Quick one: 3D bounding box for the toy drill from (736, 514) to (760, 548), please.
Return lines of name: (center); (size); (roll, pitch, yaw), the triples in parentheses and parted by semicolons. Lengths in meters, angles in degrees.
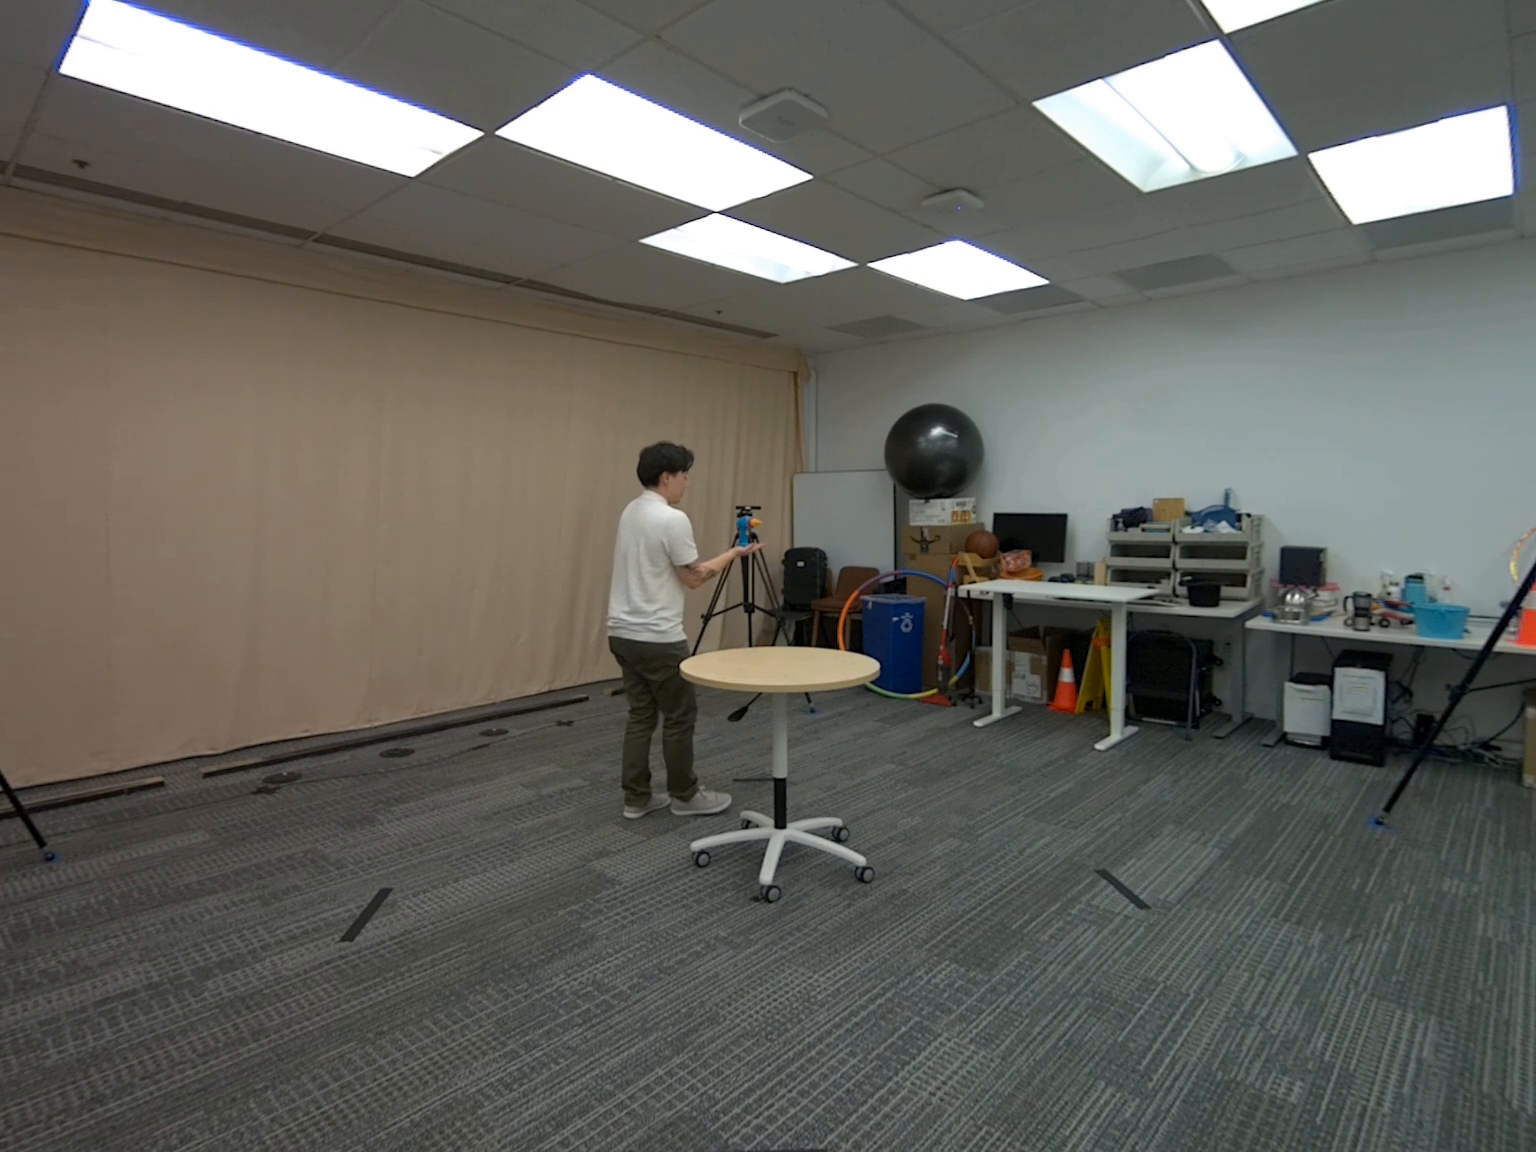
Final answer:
toy drill: (-0.087, -0.196, 3.757); (0.059, 0.146, 0.175); (3, -3, -41)
